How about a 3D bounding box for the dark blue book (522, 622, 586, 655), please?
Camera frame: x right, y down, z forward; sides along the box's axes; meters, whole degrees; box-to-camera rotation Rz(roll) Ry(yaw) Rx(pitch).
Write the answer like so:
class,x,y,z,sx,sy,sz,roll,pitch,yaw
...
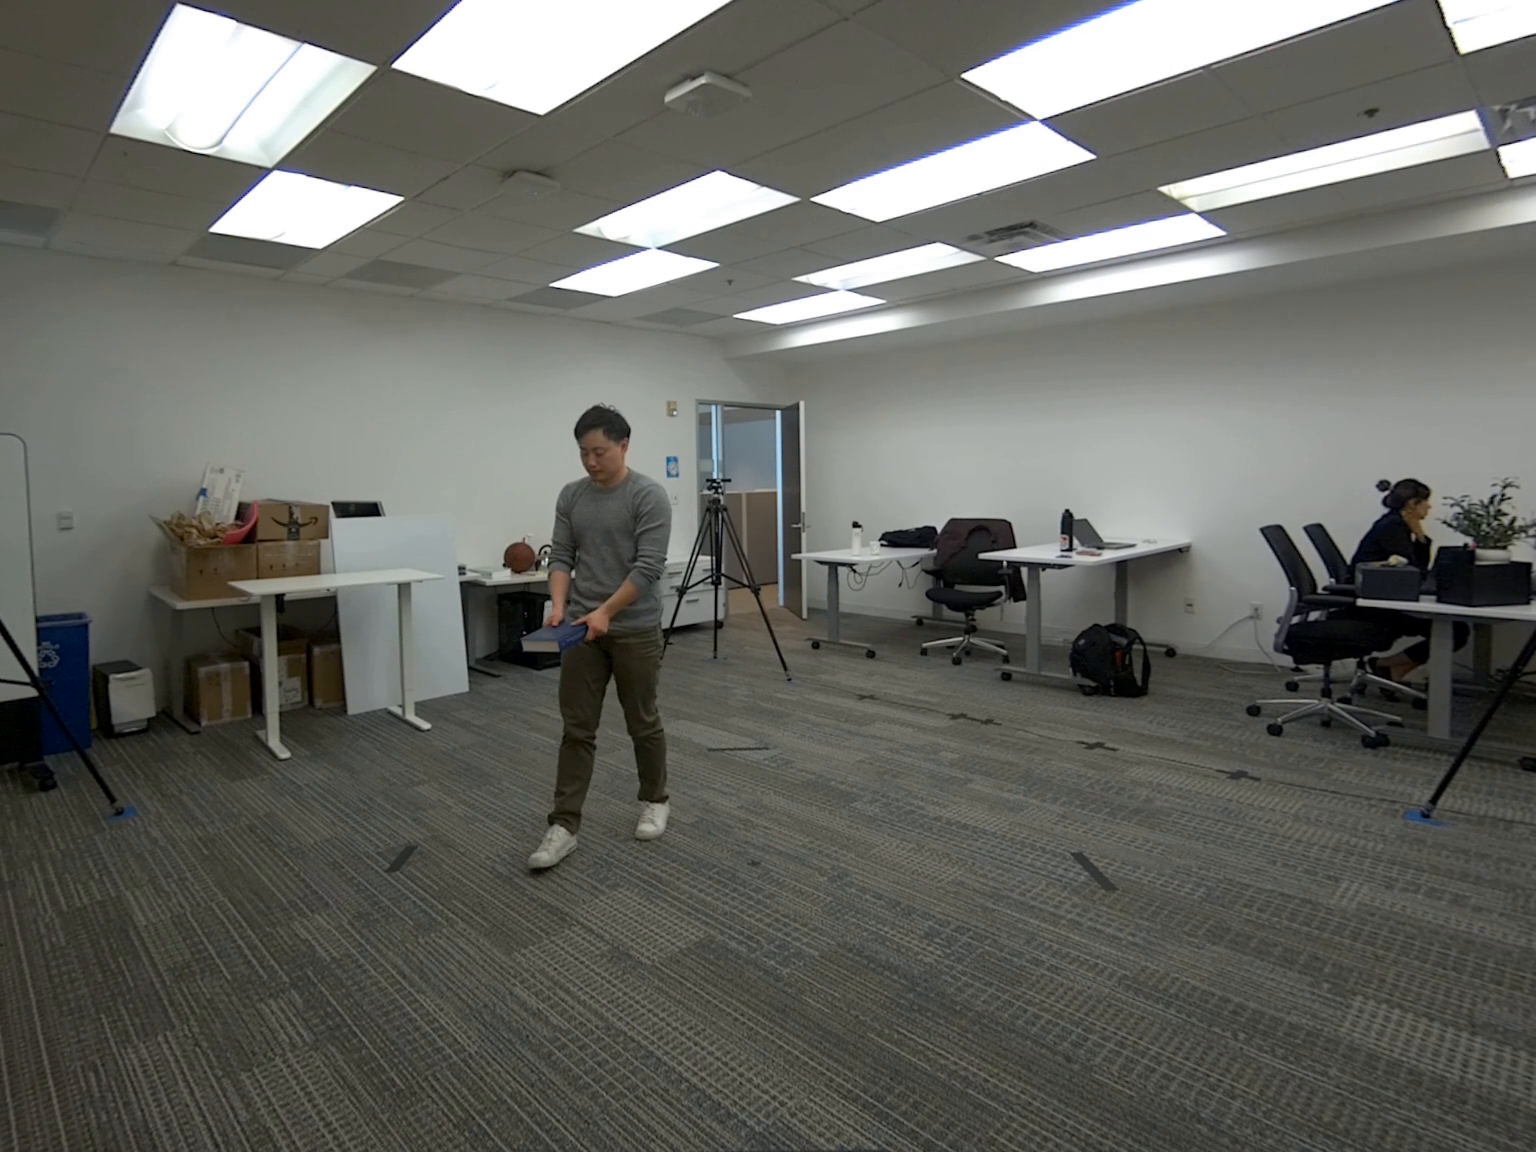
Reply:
class,x,y,z,sx,sy,sz,roll,pitch,yaw
dark blue book,-0.717,0.216,3.009,0.167,0.045,0.242,-2,12,23
